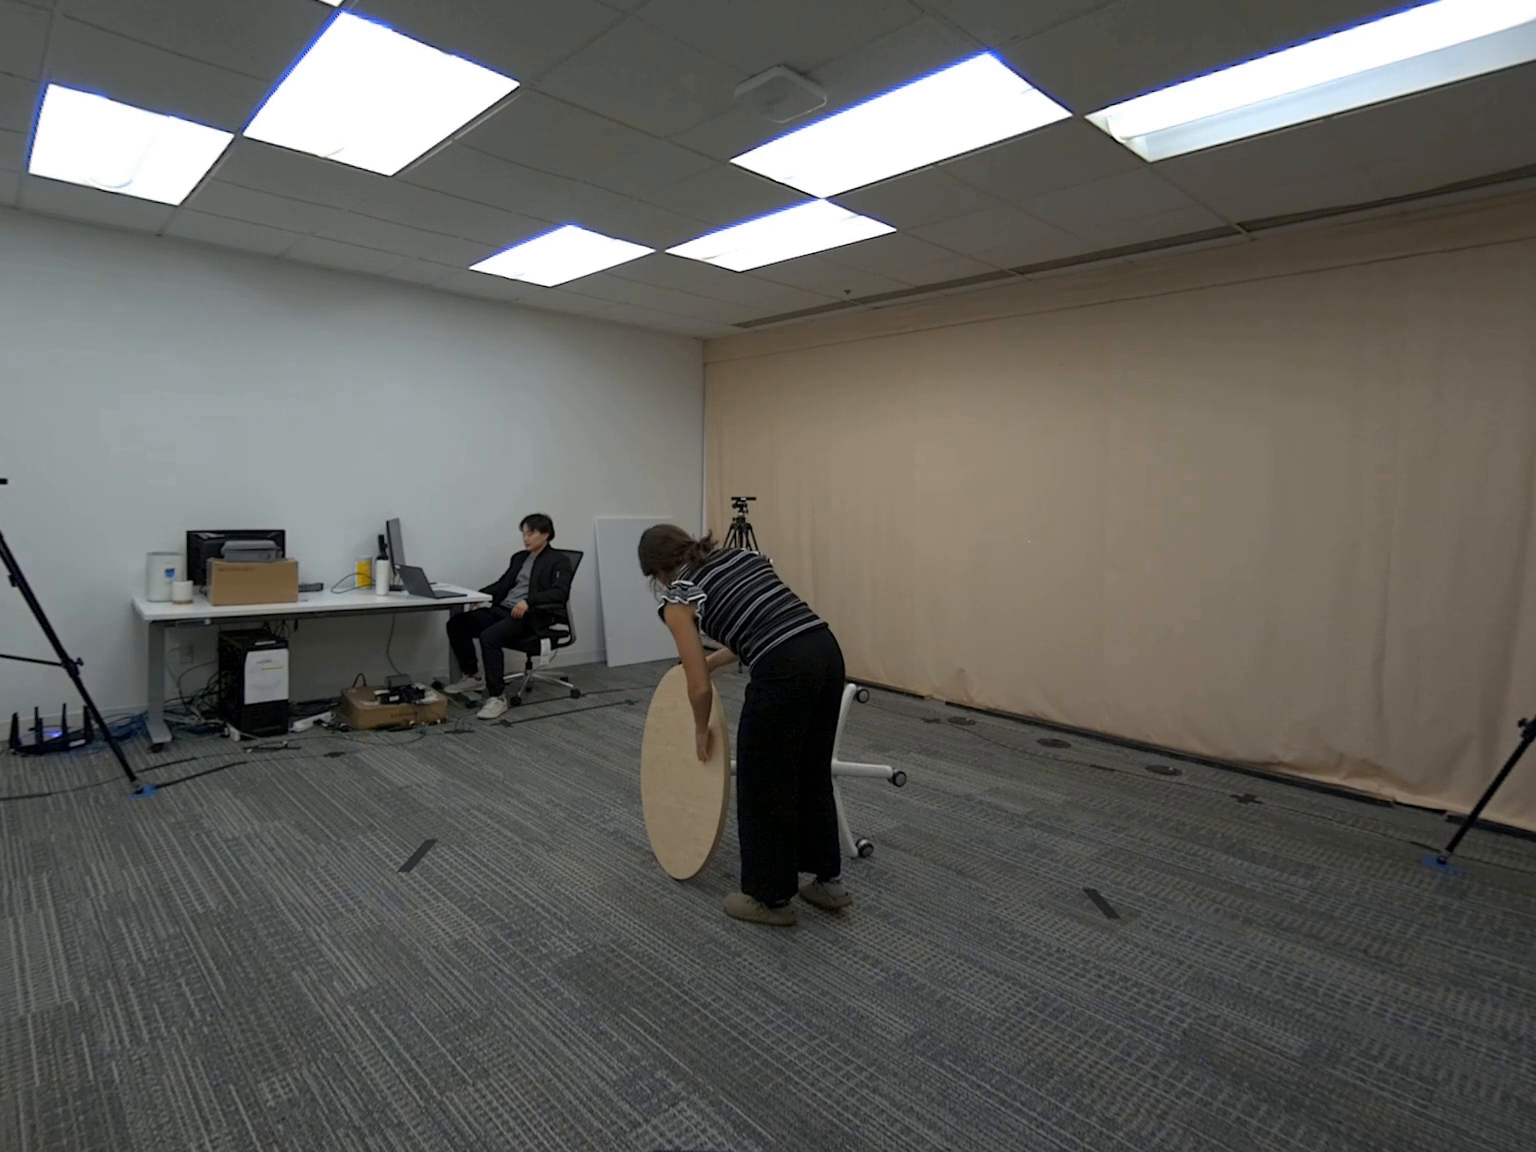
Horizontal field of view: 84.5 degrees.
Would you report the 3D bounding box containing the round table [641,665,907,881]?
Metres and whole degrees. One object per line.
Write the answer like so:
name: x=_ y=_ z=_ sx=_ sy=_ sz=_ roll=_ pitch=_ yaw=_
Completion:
round table: x=-0.002 y=0.755 z=3.314 sx=0.777 sy=0.763 sz=0.780 roll=6 pitch=2 yaw=-27
